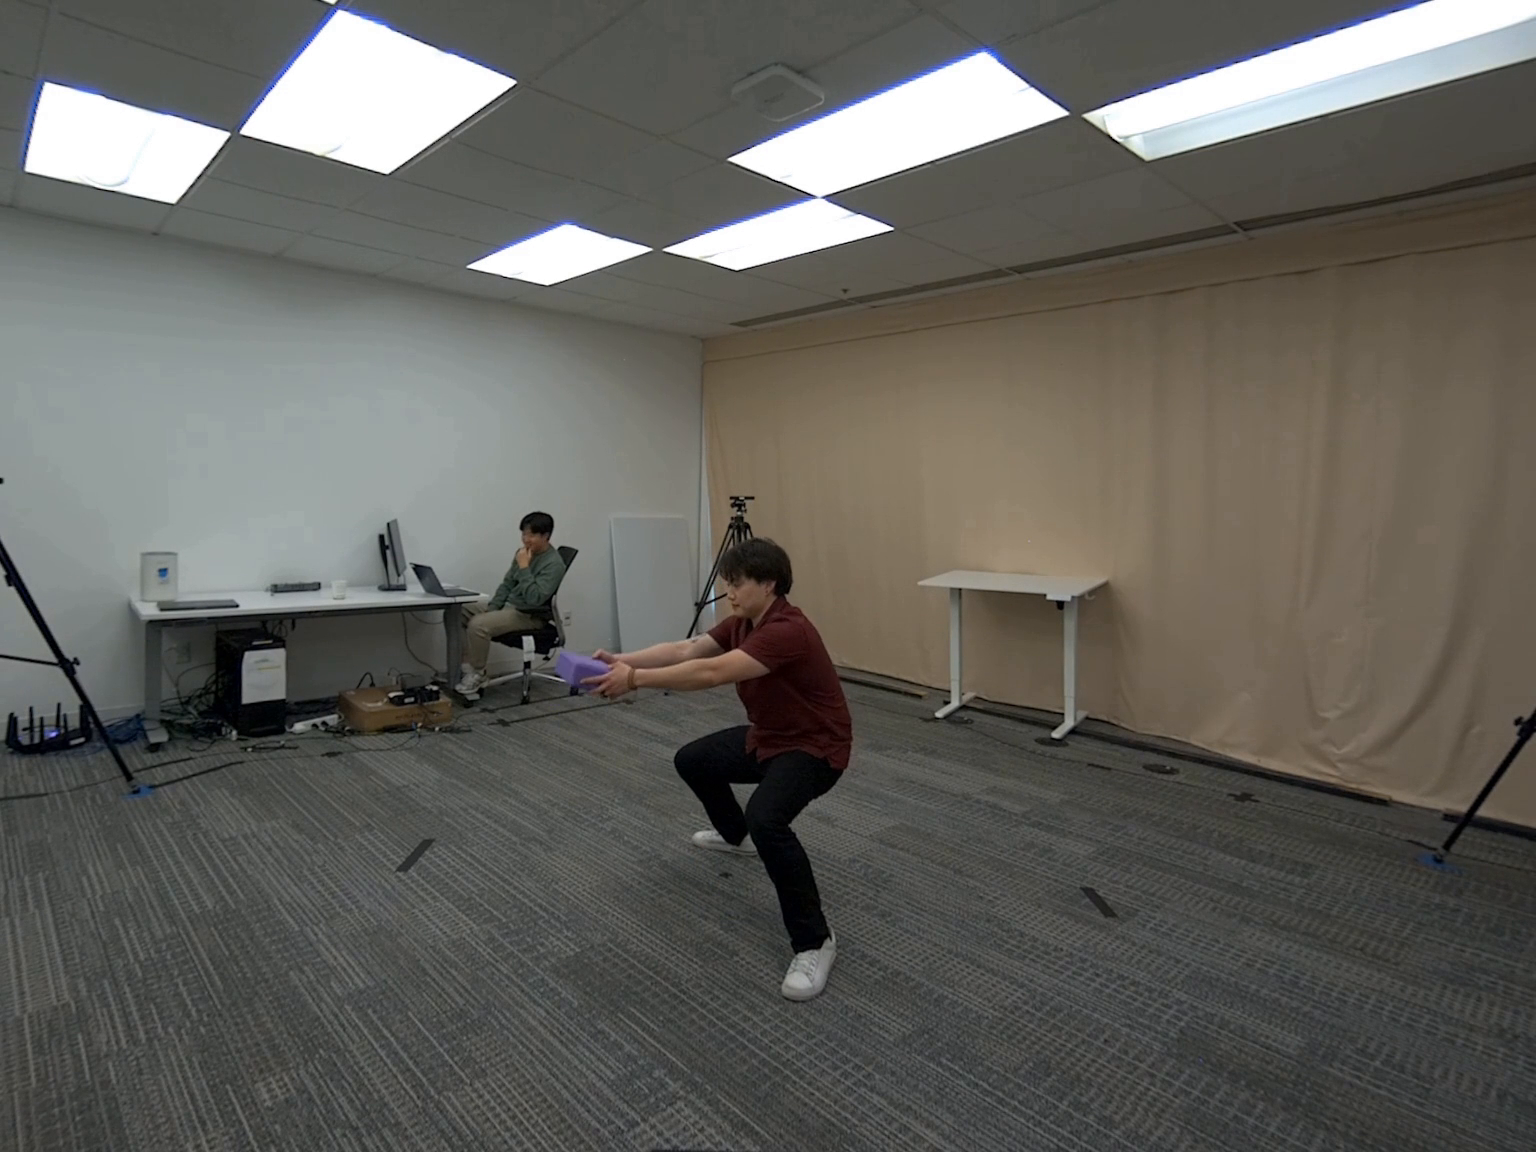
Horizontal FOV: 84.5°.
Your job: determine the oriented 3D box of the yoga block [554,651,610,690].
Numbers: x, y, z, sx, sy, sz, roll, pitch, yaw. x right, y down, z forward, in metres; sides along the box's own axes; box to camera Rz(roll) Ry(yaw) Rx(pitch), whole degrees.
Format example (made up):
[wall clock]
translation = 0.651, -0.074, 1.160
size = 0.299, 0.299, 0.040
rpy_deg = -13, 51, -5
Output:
[yoga block]
translation = -0.581, 0.296, 2.681
size = 0.146, 0.076, 0.234
rpy_deg = 15, -2, -25
